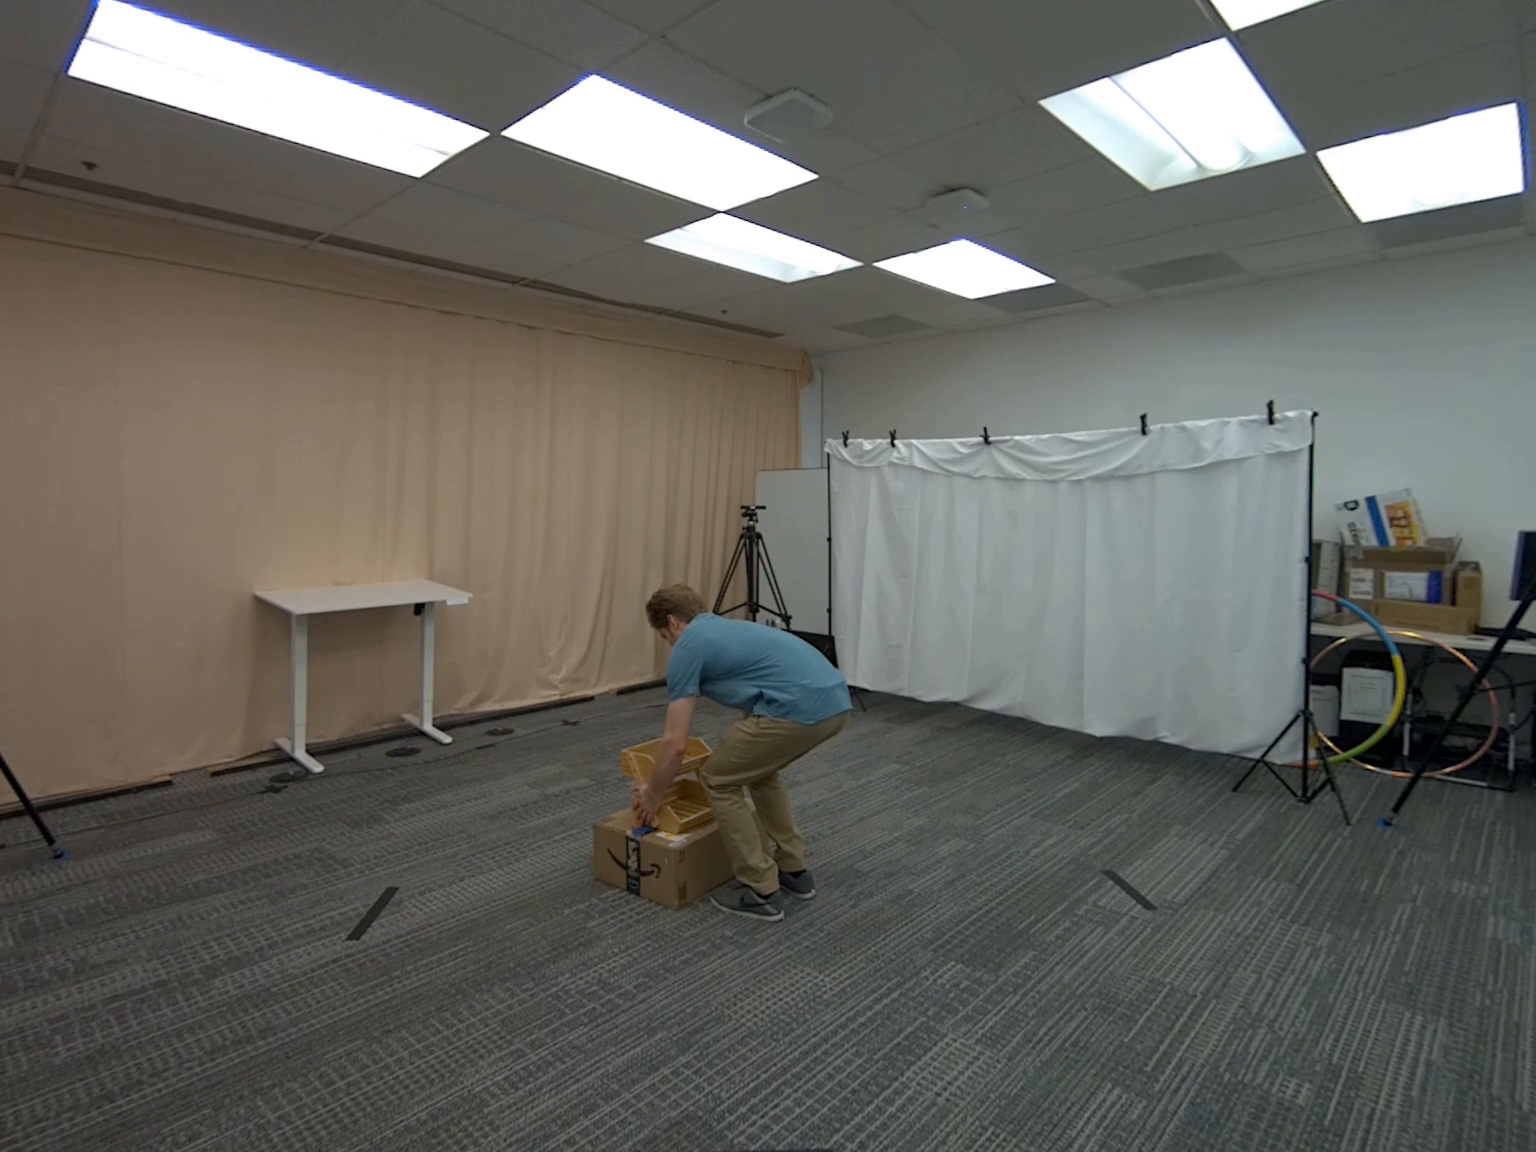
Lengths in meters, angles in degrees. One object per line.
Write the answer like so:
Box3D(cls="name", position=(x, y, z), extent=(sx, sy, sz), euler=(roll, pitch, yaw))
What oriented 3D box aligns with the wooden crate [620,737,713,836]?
Box3D(cls="wooden crate", position=(-0.349, 0.782, 3.211), extent=(0.311, 0.273, 0.315), euler=(1, 3, 38))
